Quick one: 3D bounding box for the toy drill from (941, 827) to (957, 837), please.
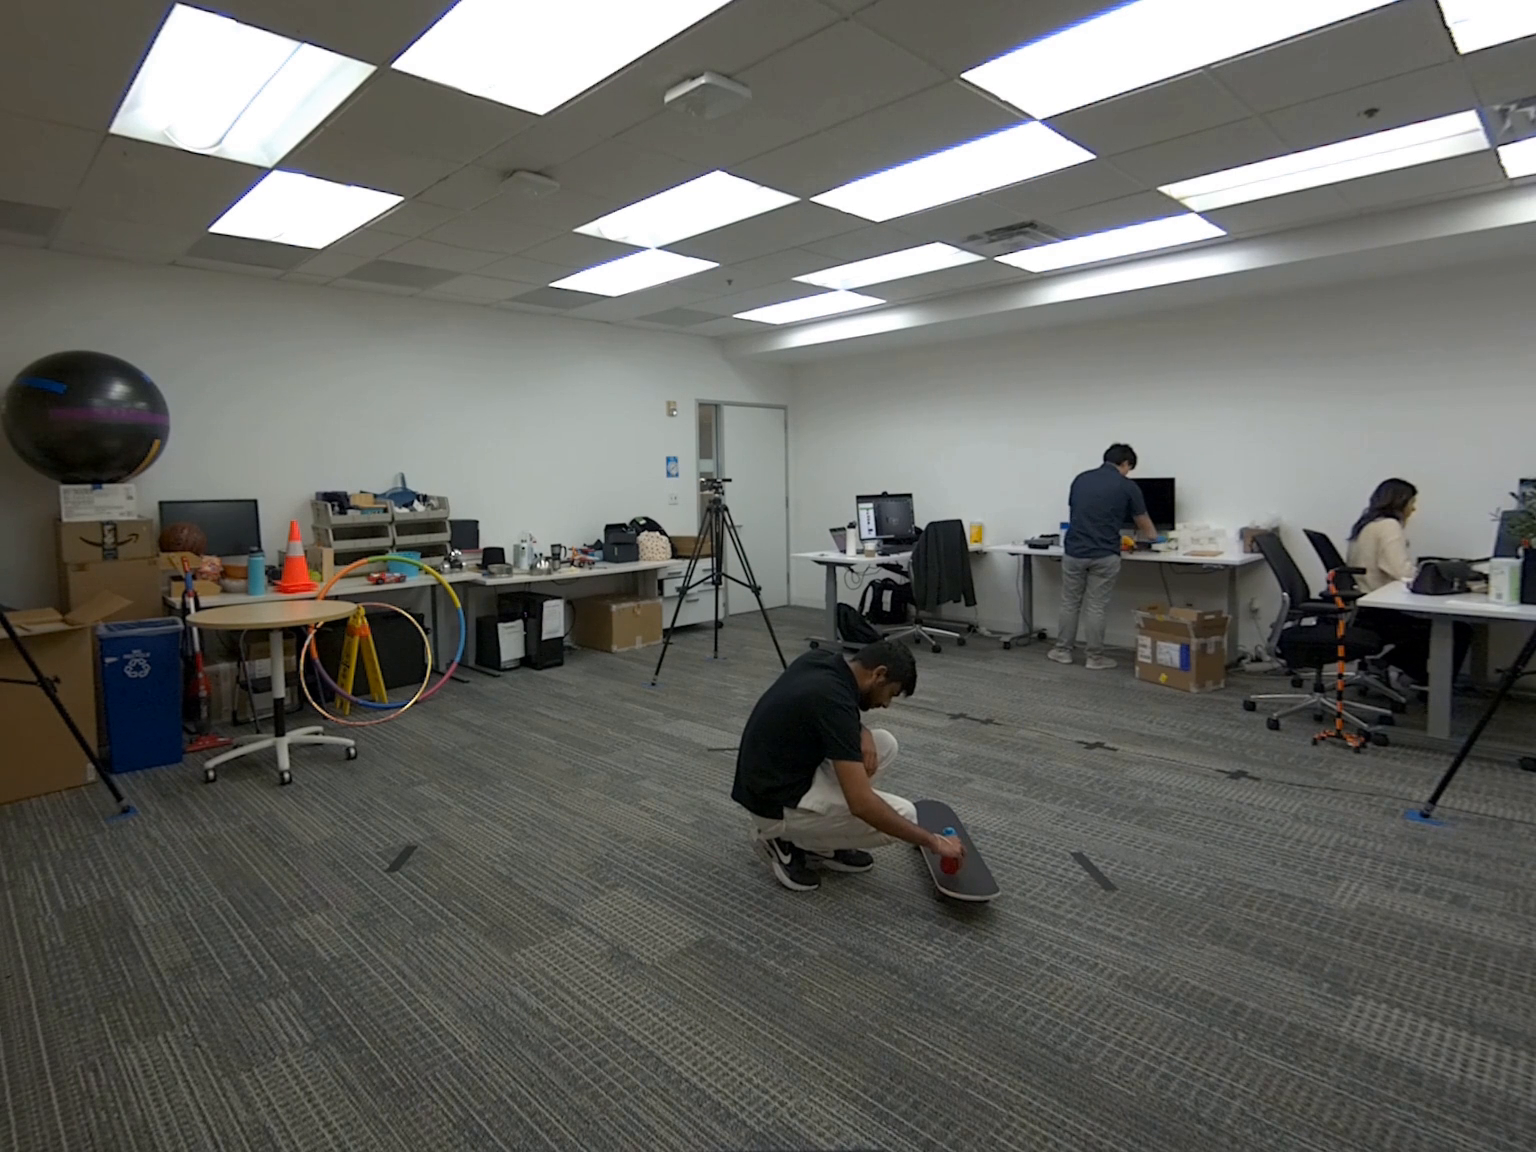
[{"bbox_3d":[0.591,0.909,2.779,0.062,0.166,0.146,3,27,22],"label":"toy drill"}]
